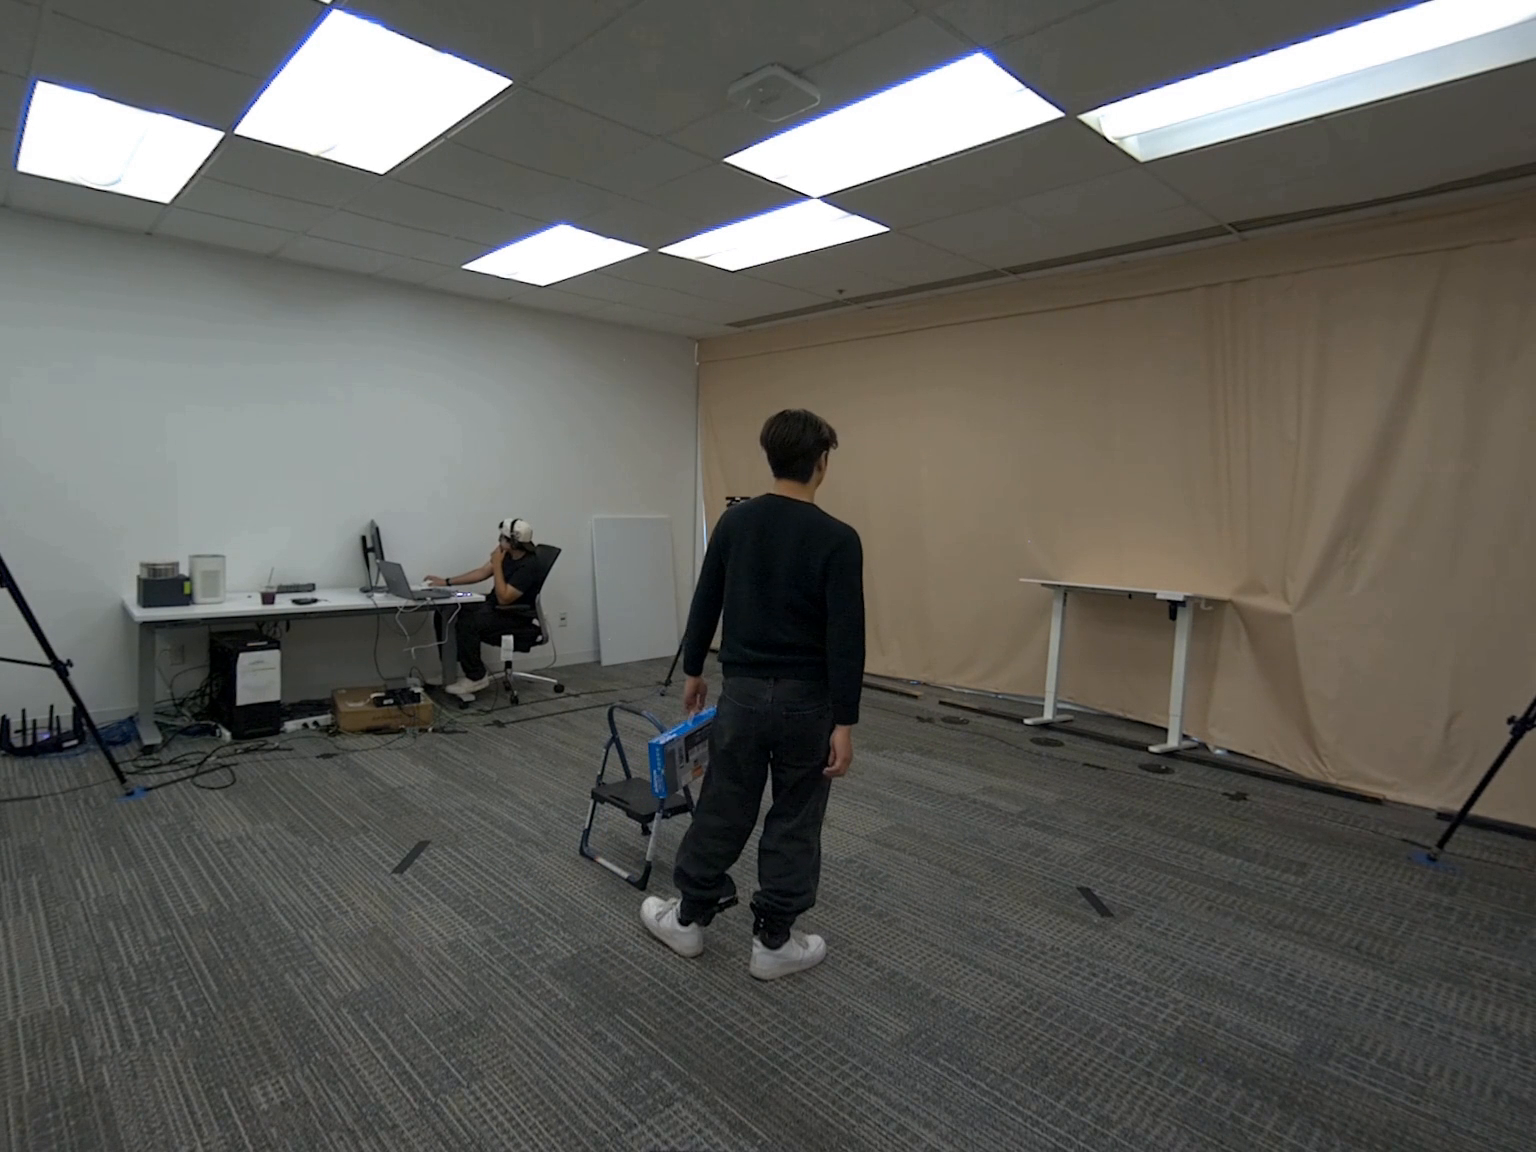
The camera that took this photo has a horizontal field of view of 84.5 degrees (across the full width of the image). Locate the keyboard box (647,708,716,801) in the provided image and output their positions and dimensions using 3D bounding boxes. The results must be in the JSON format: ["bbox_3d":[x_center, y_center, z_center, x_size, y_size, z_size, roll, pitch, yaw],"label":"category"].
[{"bbox_3d":[-0.226,0.551,2.714,0.060,0.174,0.430,1,12,34],"label":"keyboard box"}]
